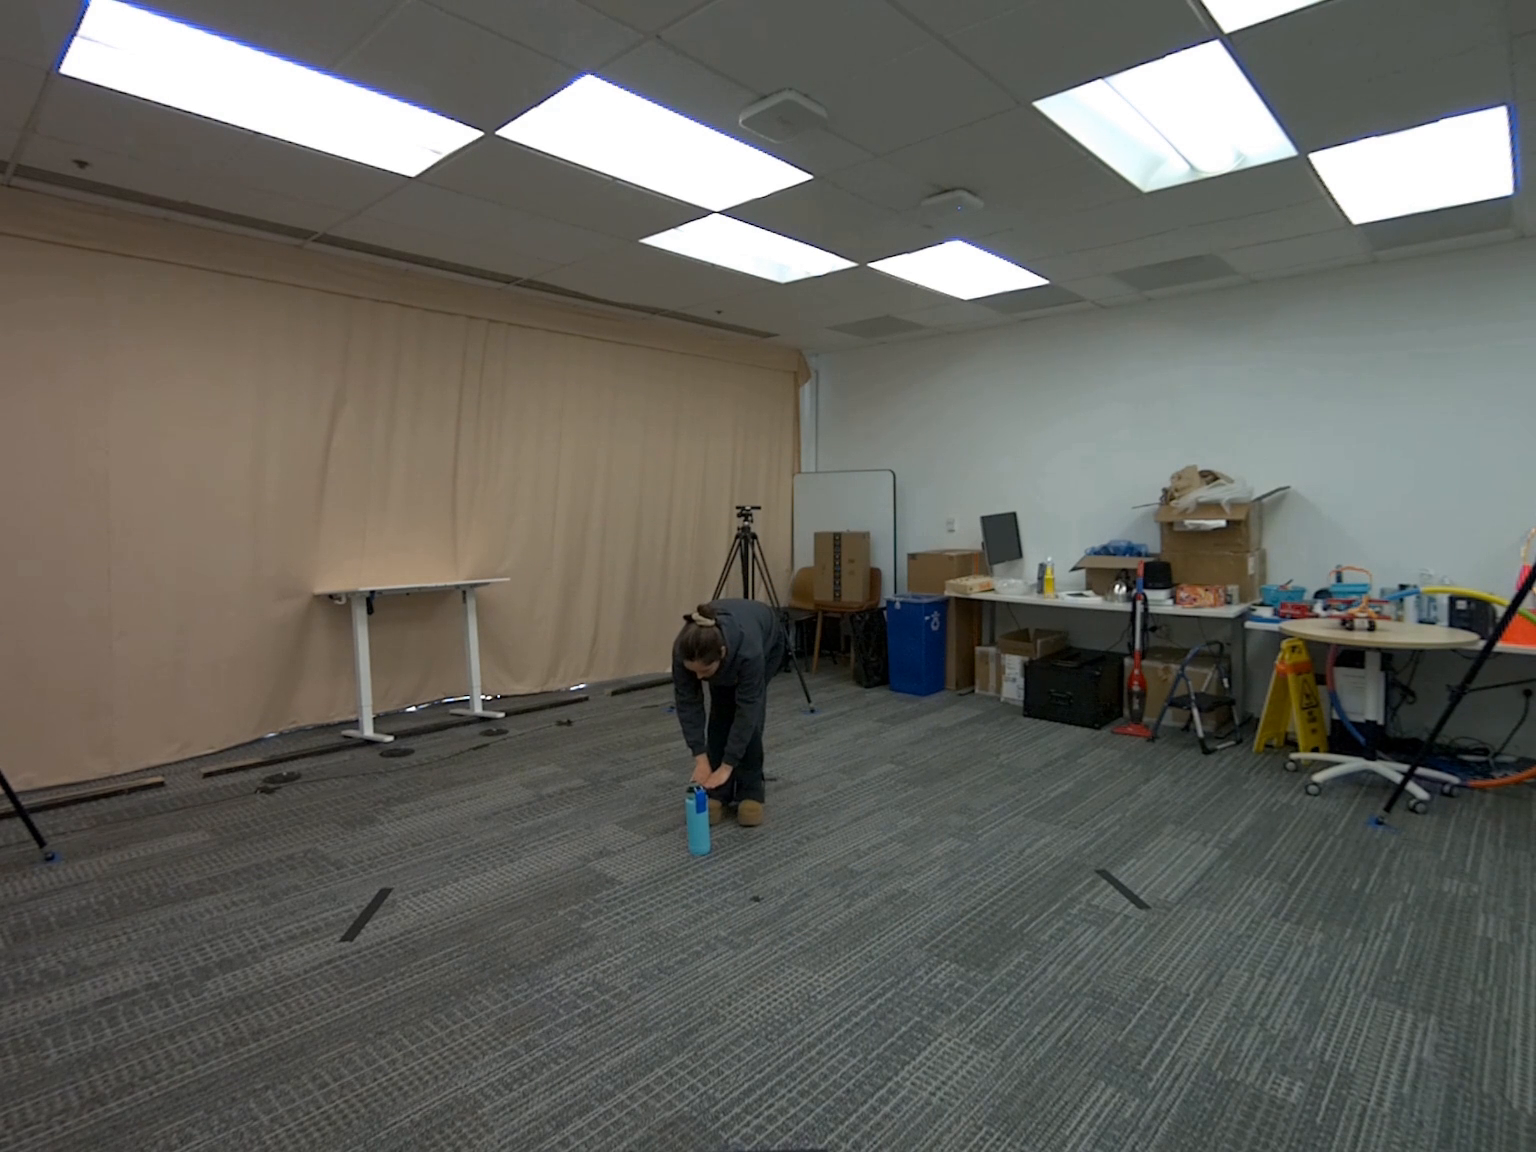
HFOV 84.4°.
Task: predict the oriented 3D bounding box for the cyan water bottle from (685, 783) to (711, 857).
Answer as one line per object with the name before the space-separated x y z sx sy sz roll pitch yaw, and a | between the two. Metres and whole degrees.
cyan water bottle | -0.267 0.968 3.385 0.092 0.282 0.093 -3 7 -1
